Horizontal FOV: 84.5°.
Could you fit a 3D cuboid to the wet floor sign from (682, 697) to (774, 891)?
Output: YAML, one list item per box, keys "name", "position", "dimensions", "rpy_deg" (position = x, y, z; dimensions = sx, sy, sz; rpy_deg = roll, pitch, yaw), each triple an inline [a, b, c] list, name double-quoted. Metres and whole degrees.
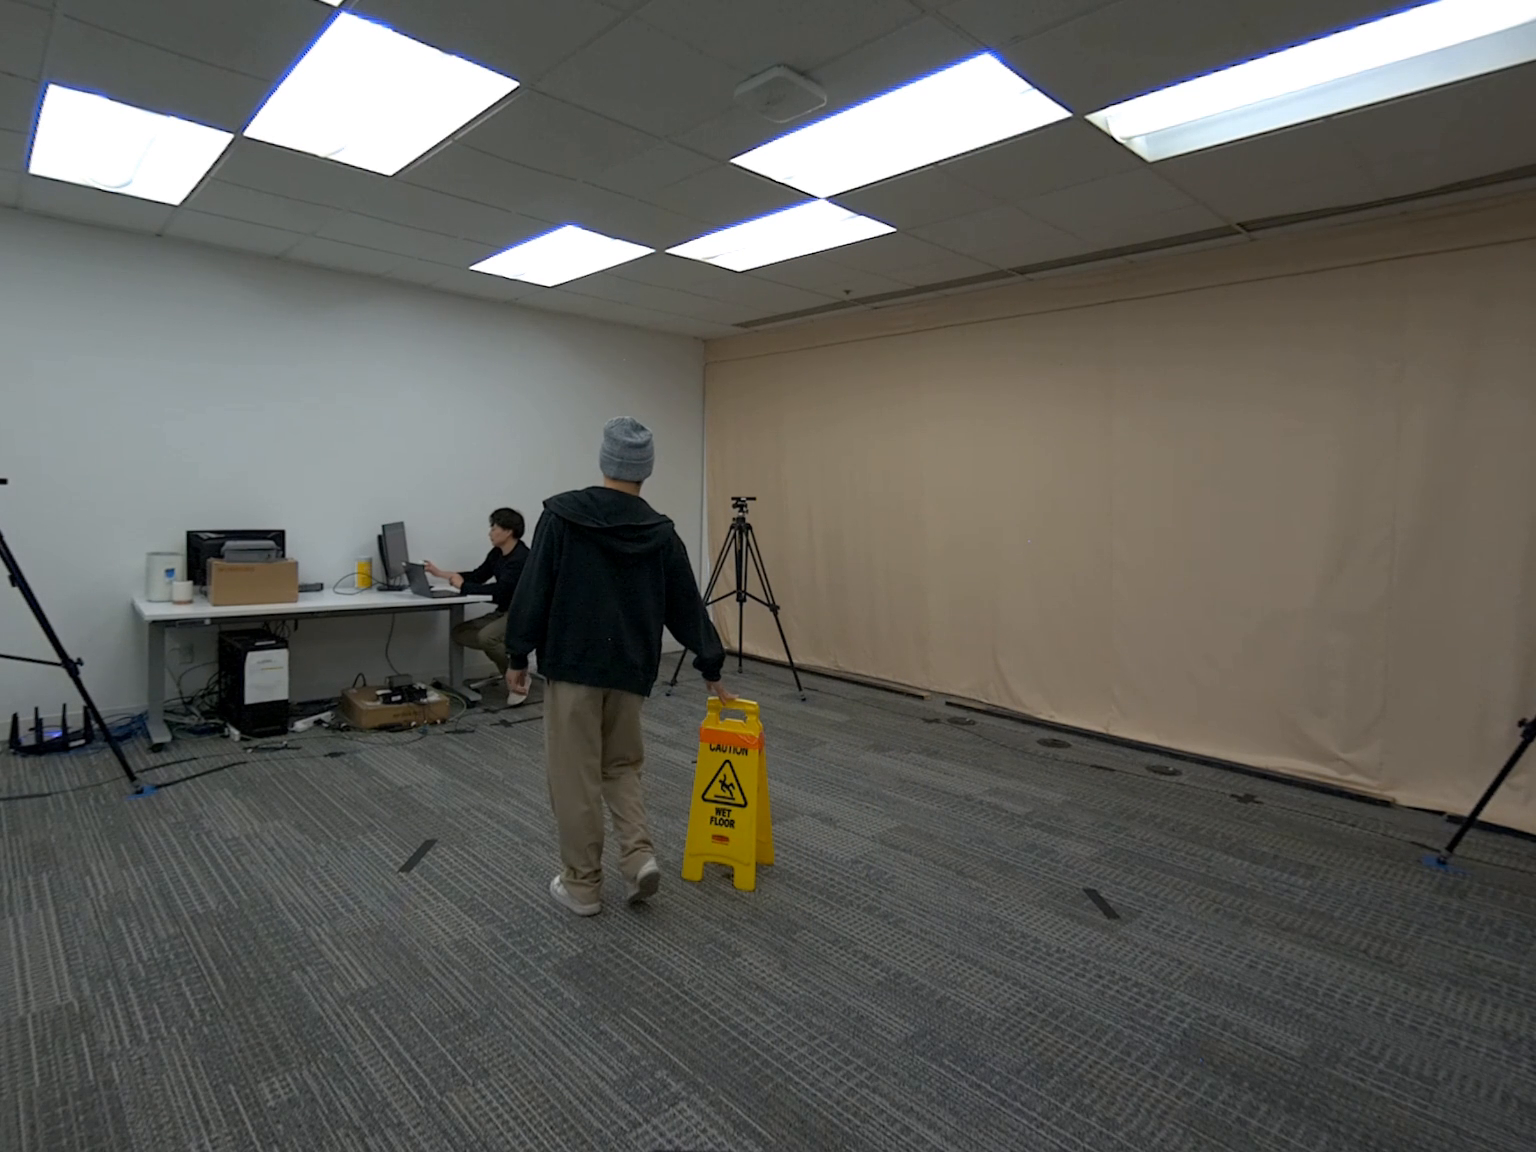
- name: "wet floor sign"
  position: [-0.143, 0.779, 3.134]
  dimensions: [0.286, 0.645, 0.286]
  rpy_deg: [4, 3, 18]
